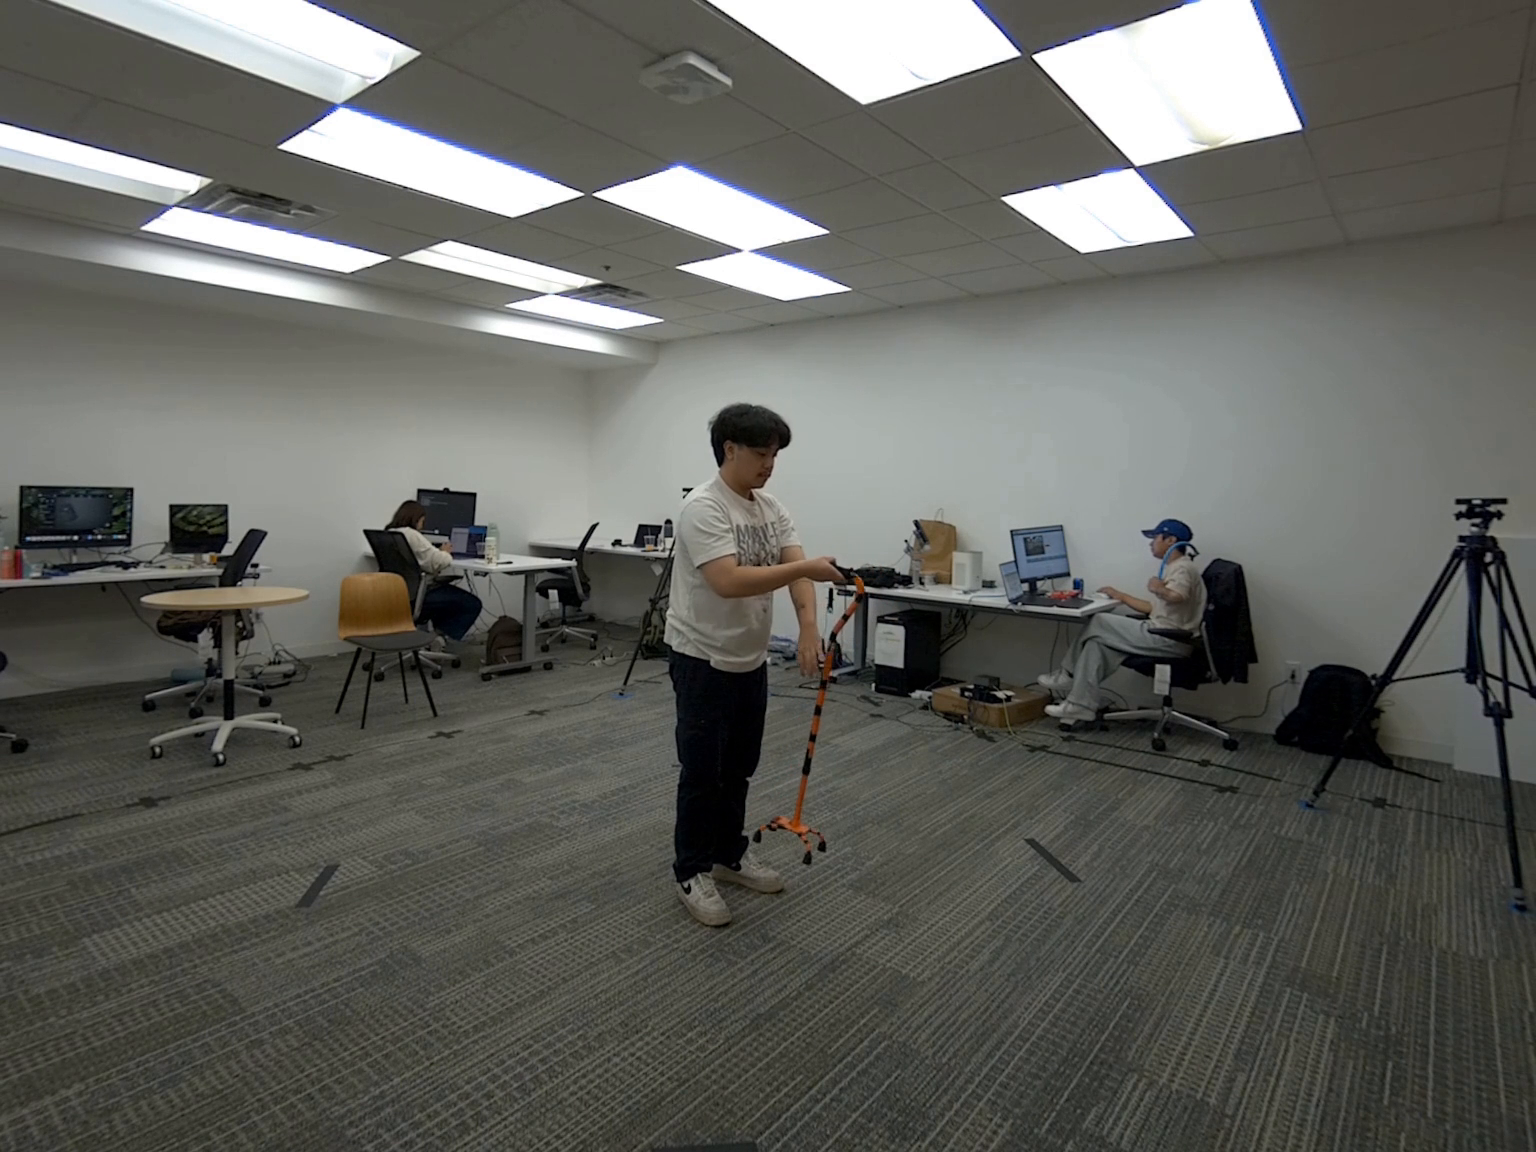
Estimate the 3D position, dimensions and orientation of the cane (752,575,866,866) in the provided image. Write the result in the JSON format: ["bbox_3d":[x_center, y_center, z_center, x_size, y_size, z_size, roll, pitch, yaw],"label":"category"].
[{"bbox_3d":[0.147,0.435,2.677,0.212,0.905,0.148,12,5,25],"label":"cane"}]
